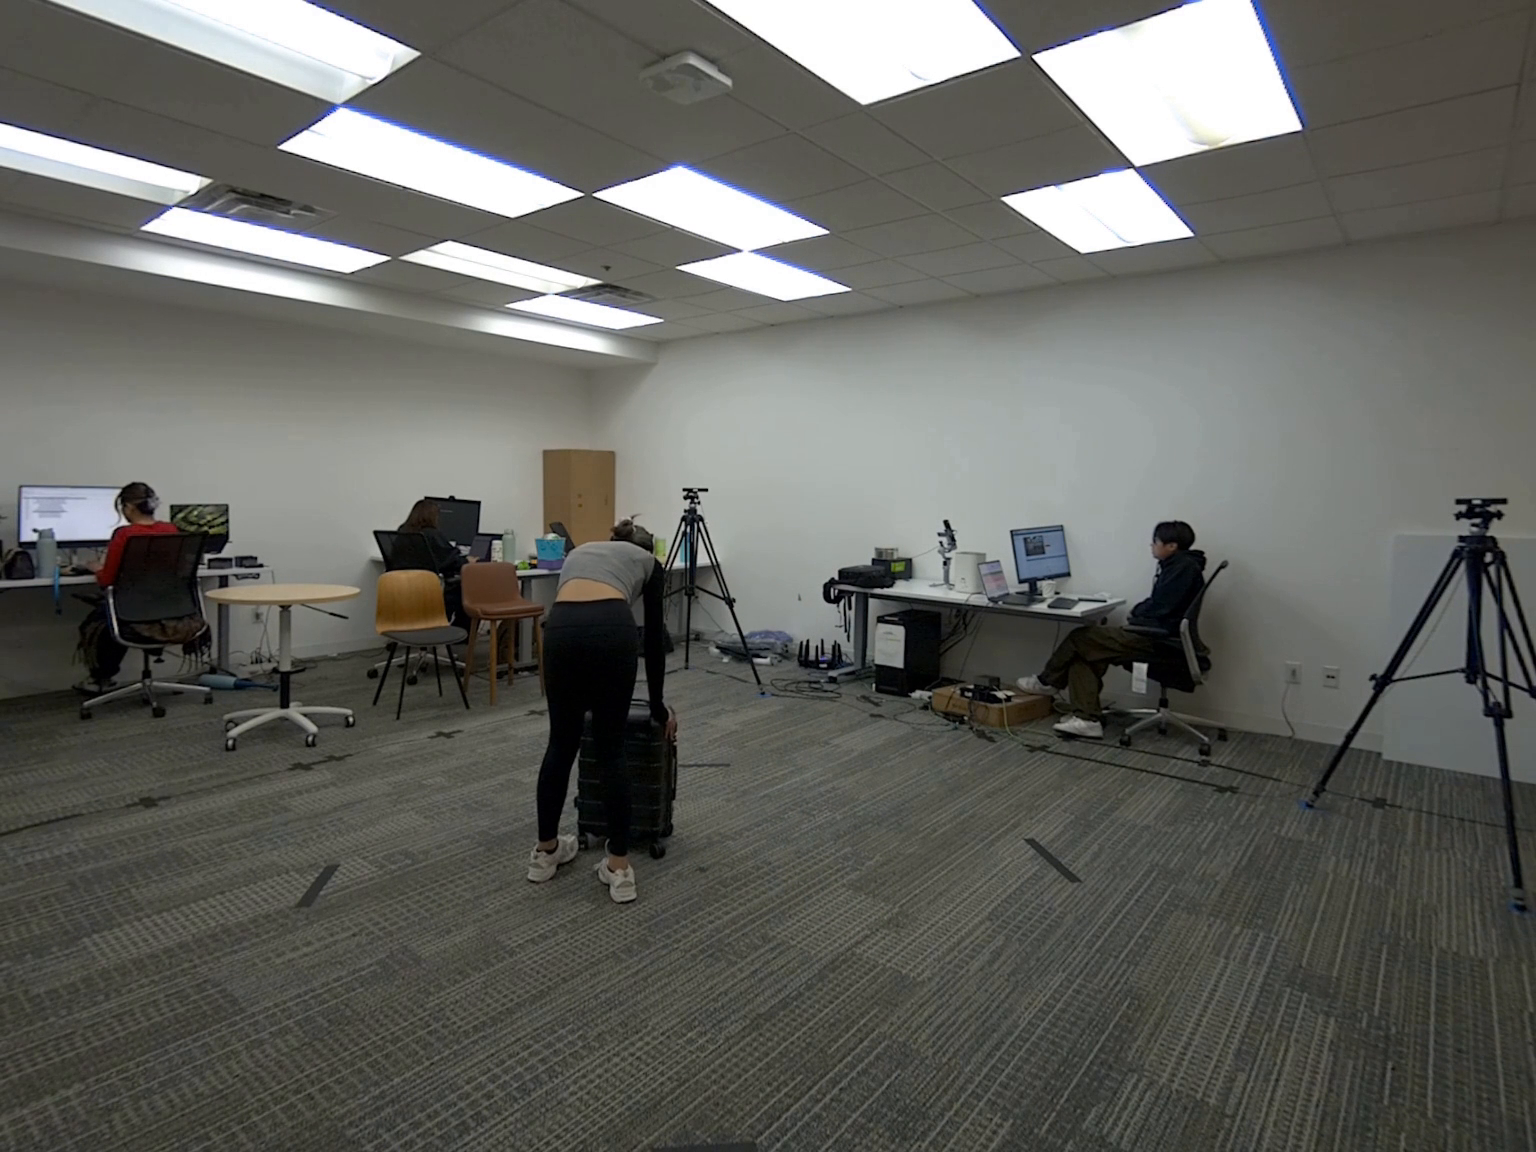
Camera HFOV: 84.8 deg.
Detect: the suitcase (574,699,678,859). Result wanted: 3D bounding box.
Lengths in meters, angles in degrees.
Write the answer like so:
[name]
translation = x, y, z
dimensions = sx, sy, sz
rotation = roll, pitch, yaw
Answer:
[suitcase]
translation = -0.564, 0.773, 3.355
dimensions = 0.380, 0.549, 0.246
rotation = 2, 1, 10
